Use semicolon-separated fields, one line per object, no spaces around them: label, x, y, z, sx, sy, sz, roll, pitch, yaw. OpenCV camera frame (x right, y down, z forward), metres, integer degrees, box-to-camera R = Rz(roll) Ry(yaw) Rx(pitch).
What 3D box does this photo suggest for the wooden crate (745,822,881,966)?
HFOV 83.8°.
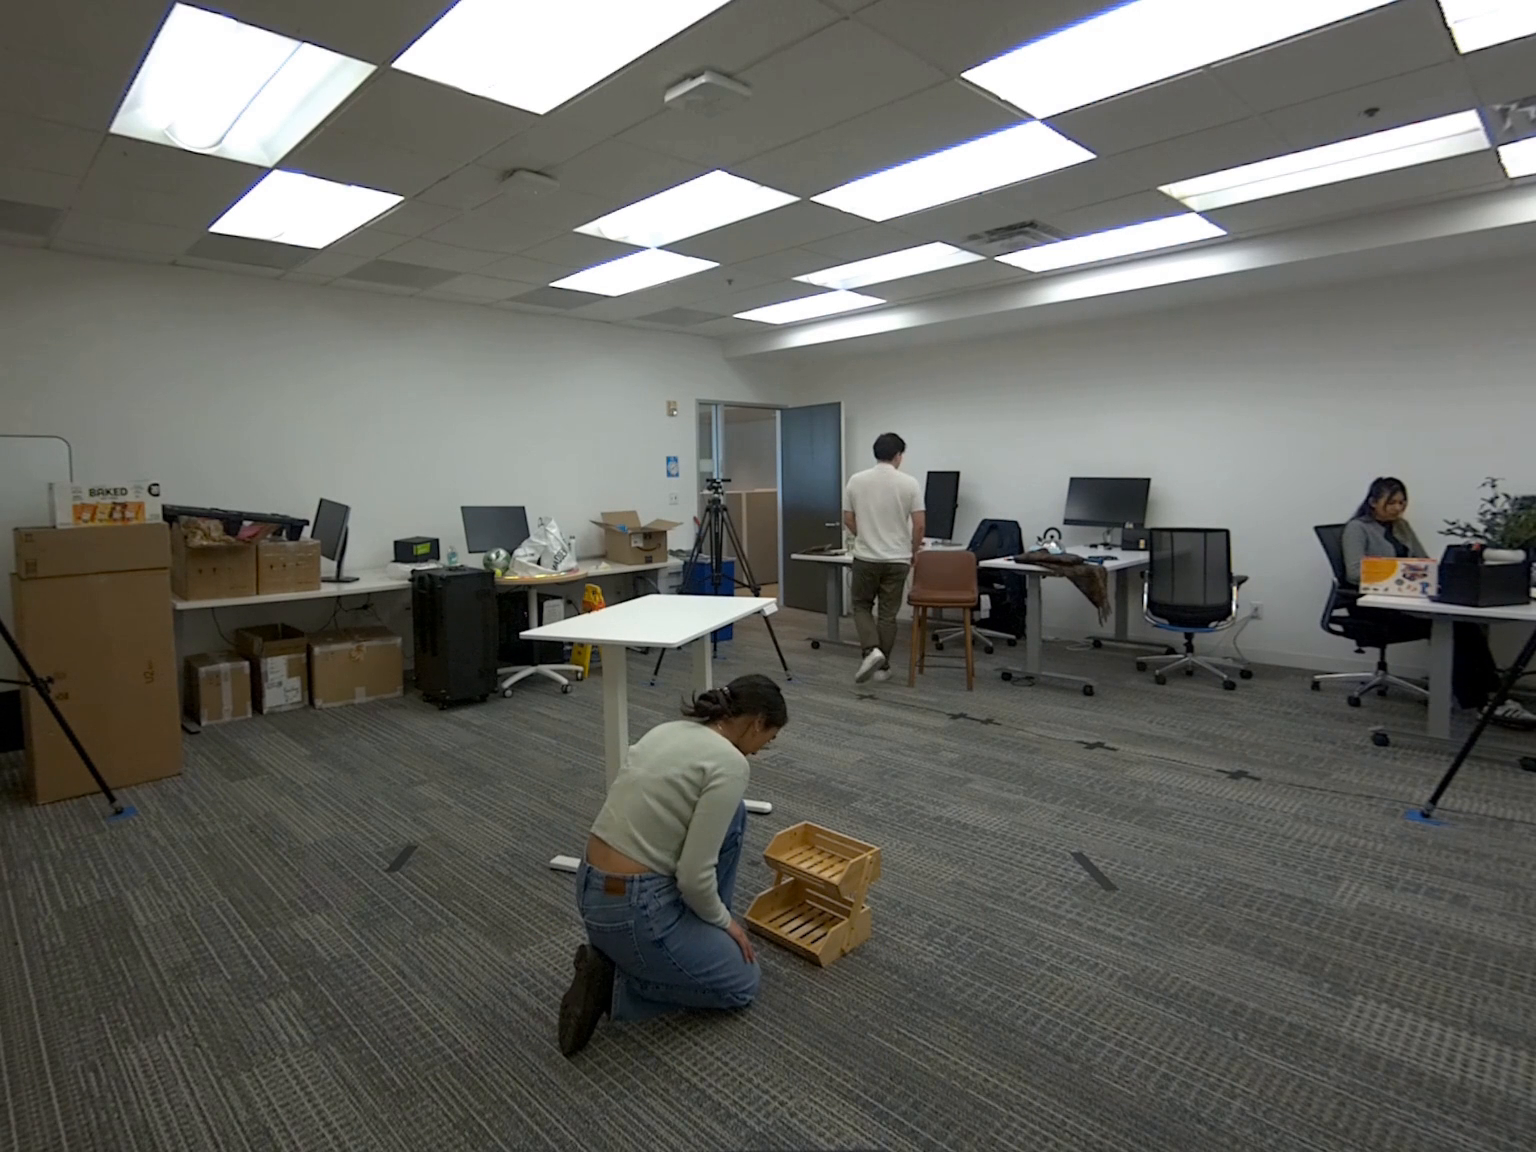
wooden crate;0.141;0.962;2.626;0.334;0.272;0.294;4;6;45
